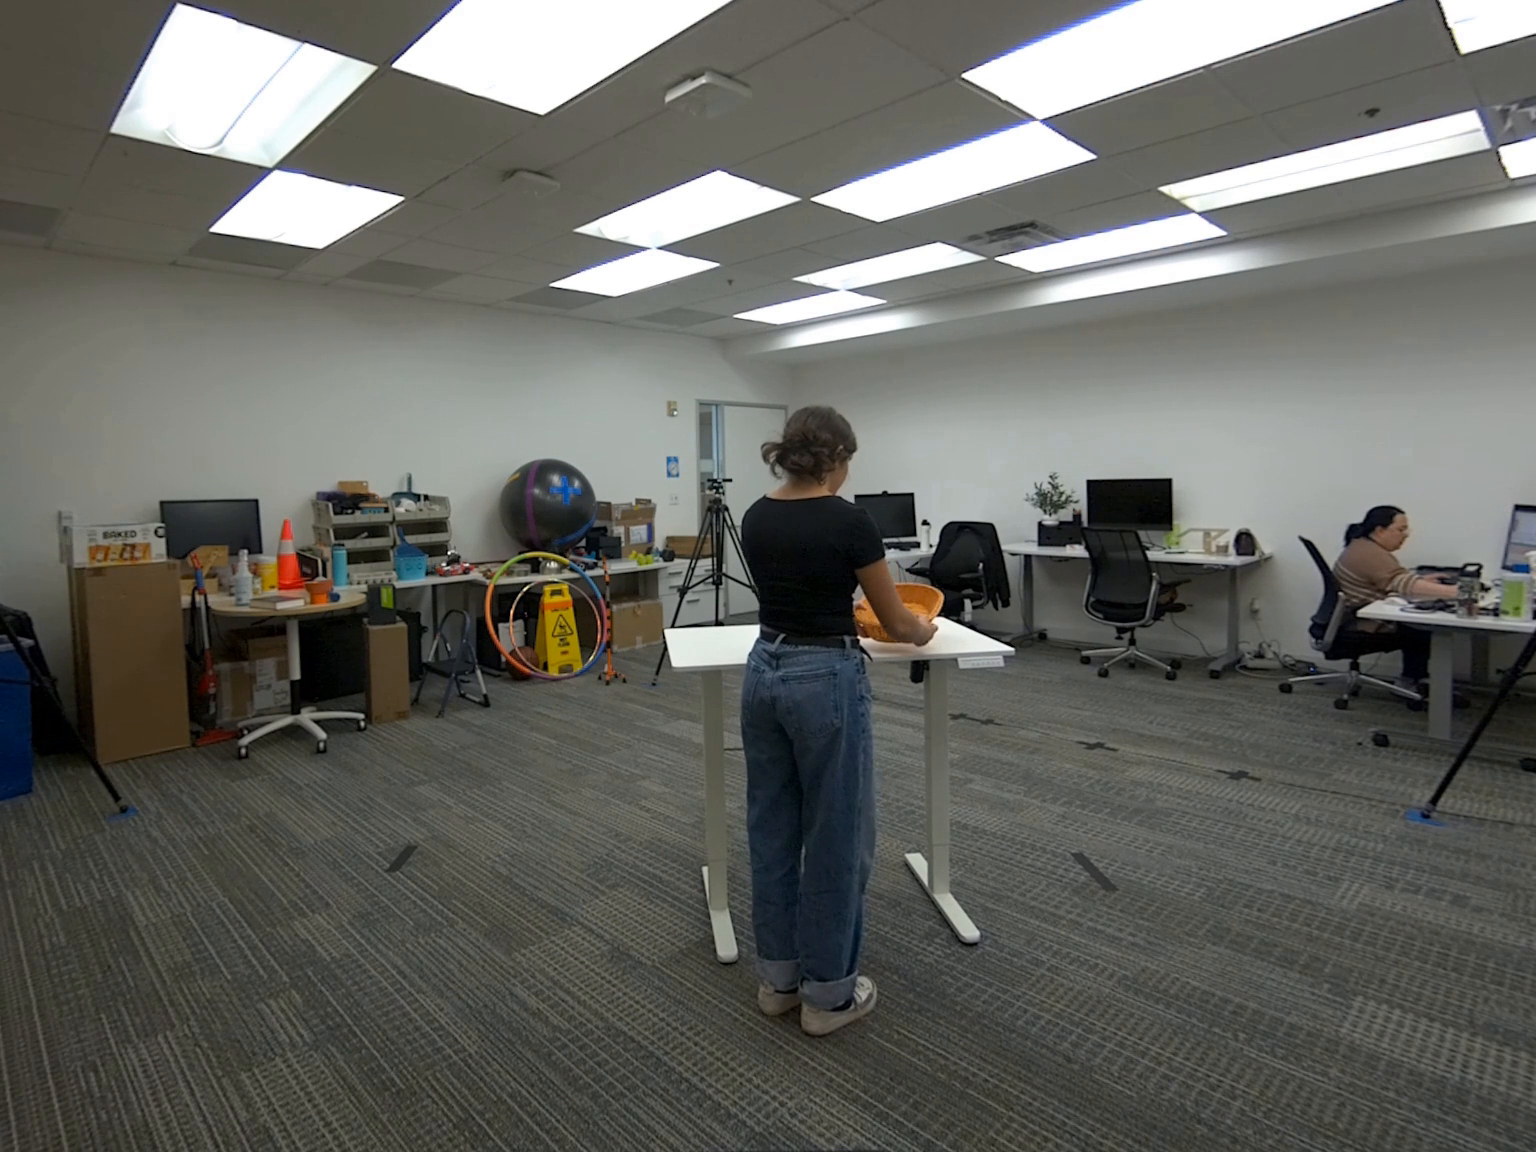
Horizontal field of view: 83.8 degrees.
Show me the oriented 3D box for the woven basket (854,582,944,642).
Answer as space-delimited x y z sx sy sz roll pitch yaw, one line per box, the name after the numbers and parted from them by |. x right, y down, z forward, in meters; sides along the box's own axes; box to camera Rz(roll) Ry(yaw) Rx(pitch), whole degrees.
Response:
0.403 0.122 2.575 0.257 0.072 0.351 0 21 17 | woven basket
